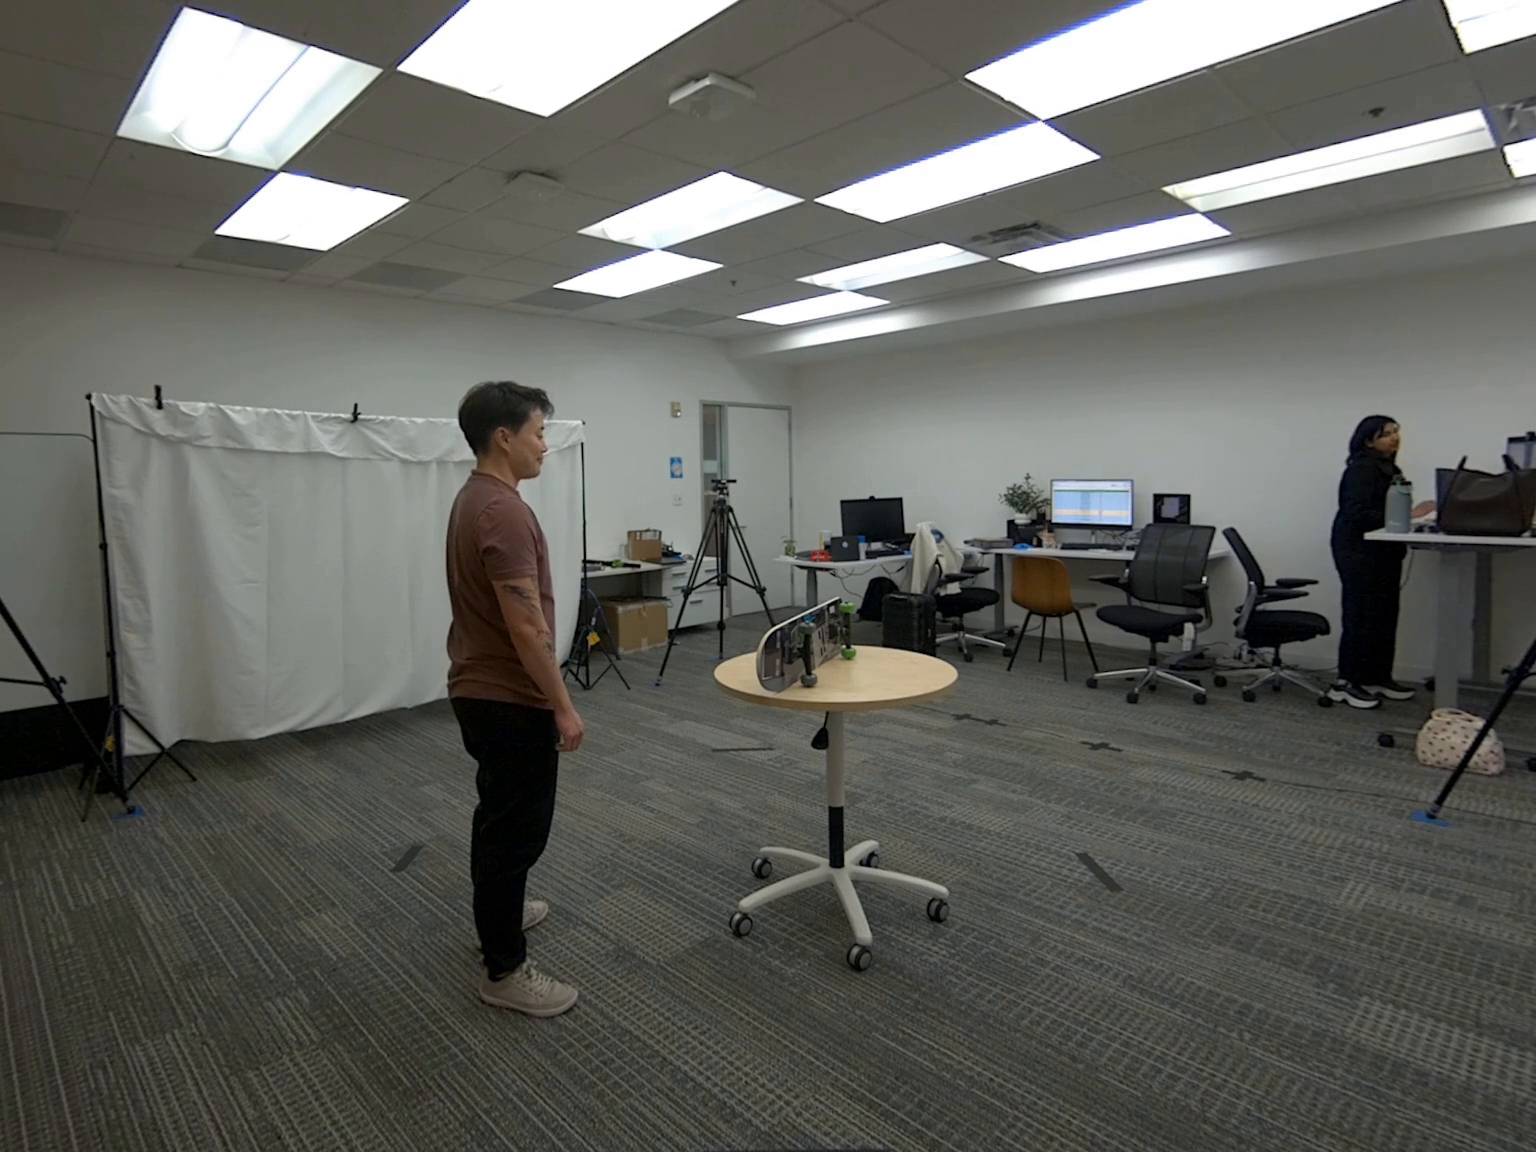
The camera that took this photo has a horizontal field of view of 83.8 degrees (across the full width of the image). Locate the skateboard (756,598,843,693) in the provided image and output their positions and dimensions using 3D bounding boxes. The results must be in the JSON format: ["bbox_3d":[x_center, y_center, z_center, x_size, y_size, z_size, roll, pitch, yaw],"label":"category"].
[{"bbox_3d":[0.167,0.207,2.724,0.113,0.192,0.772,3,8,23],"label":"skateboard"}]
